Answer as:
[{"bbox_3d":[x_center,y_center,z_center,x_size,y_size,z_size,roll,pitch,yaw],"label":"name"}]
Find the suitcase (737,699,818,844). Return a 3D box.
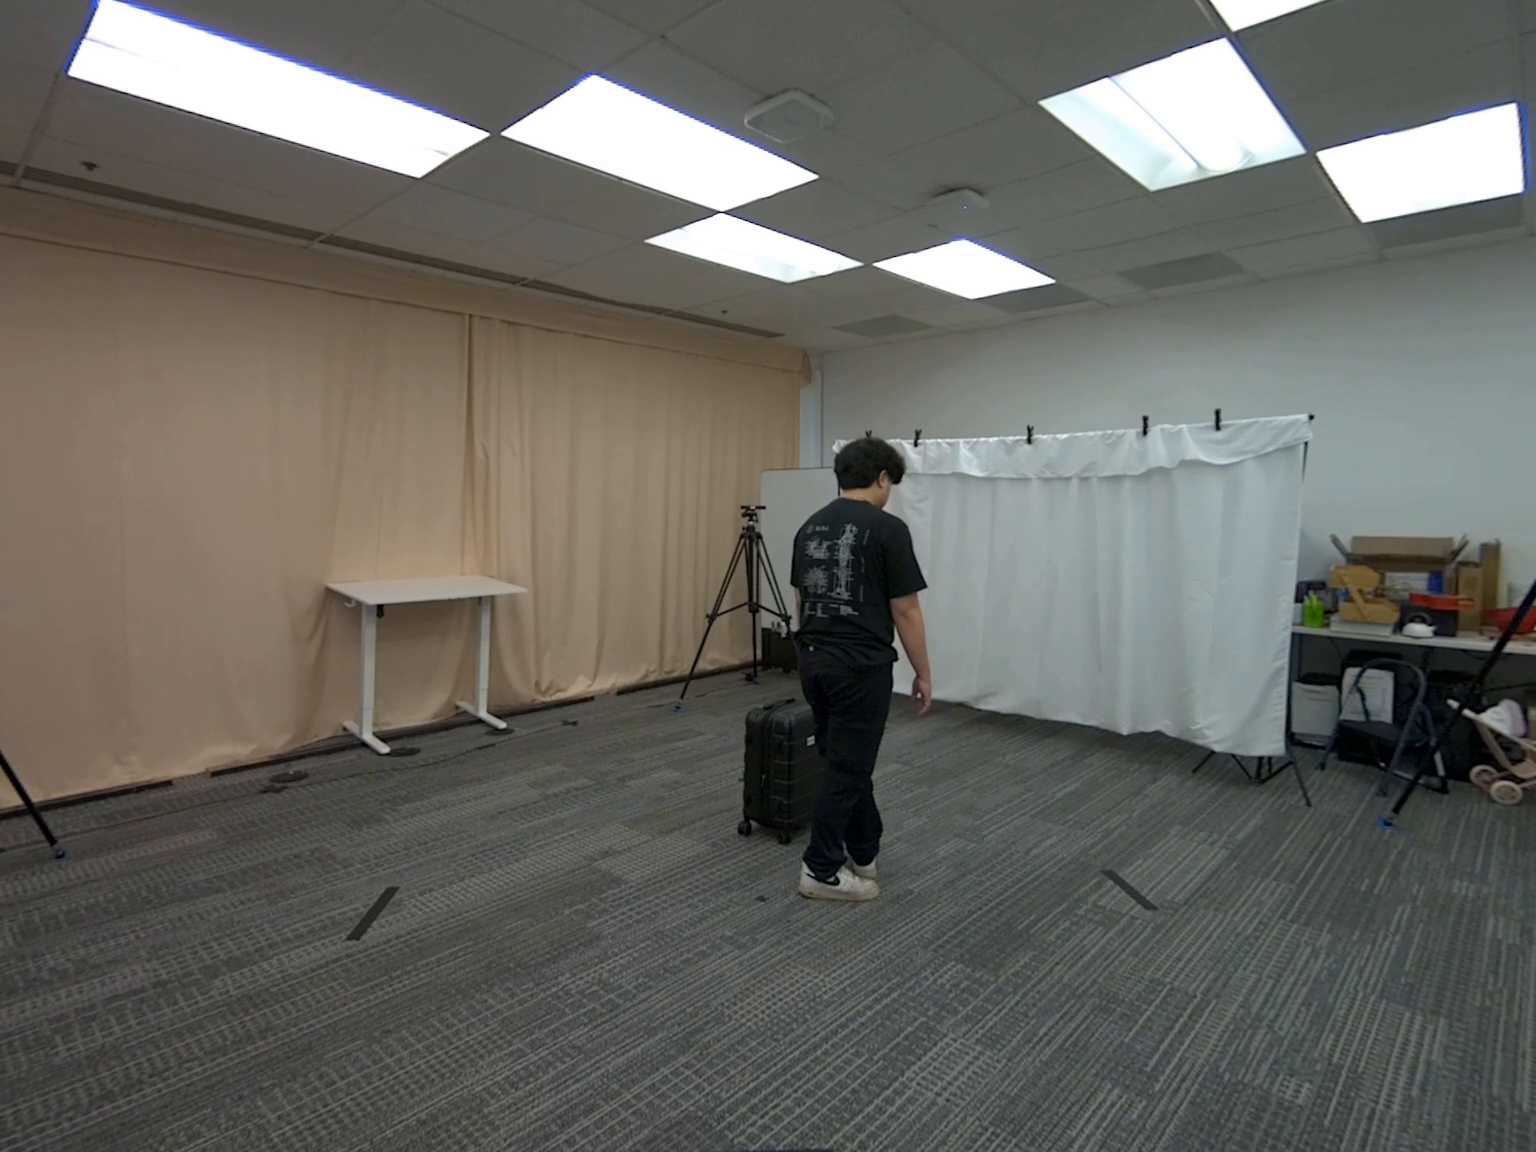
[{"bbox_3d":[0.082,0.815,3.623,0.256,0.548,0.364,4,4,36],"label":"suitcase"}]
